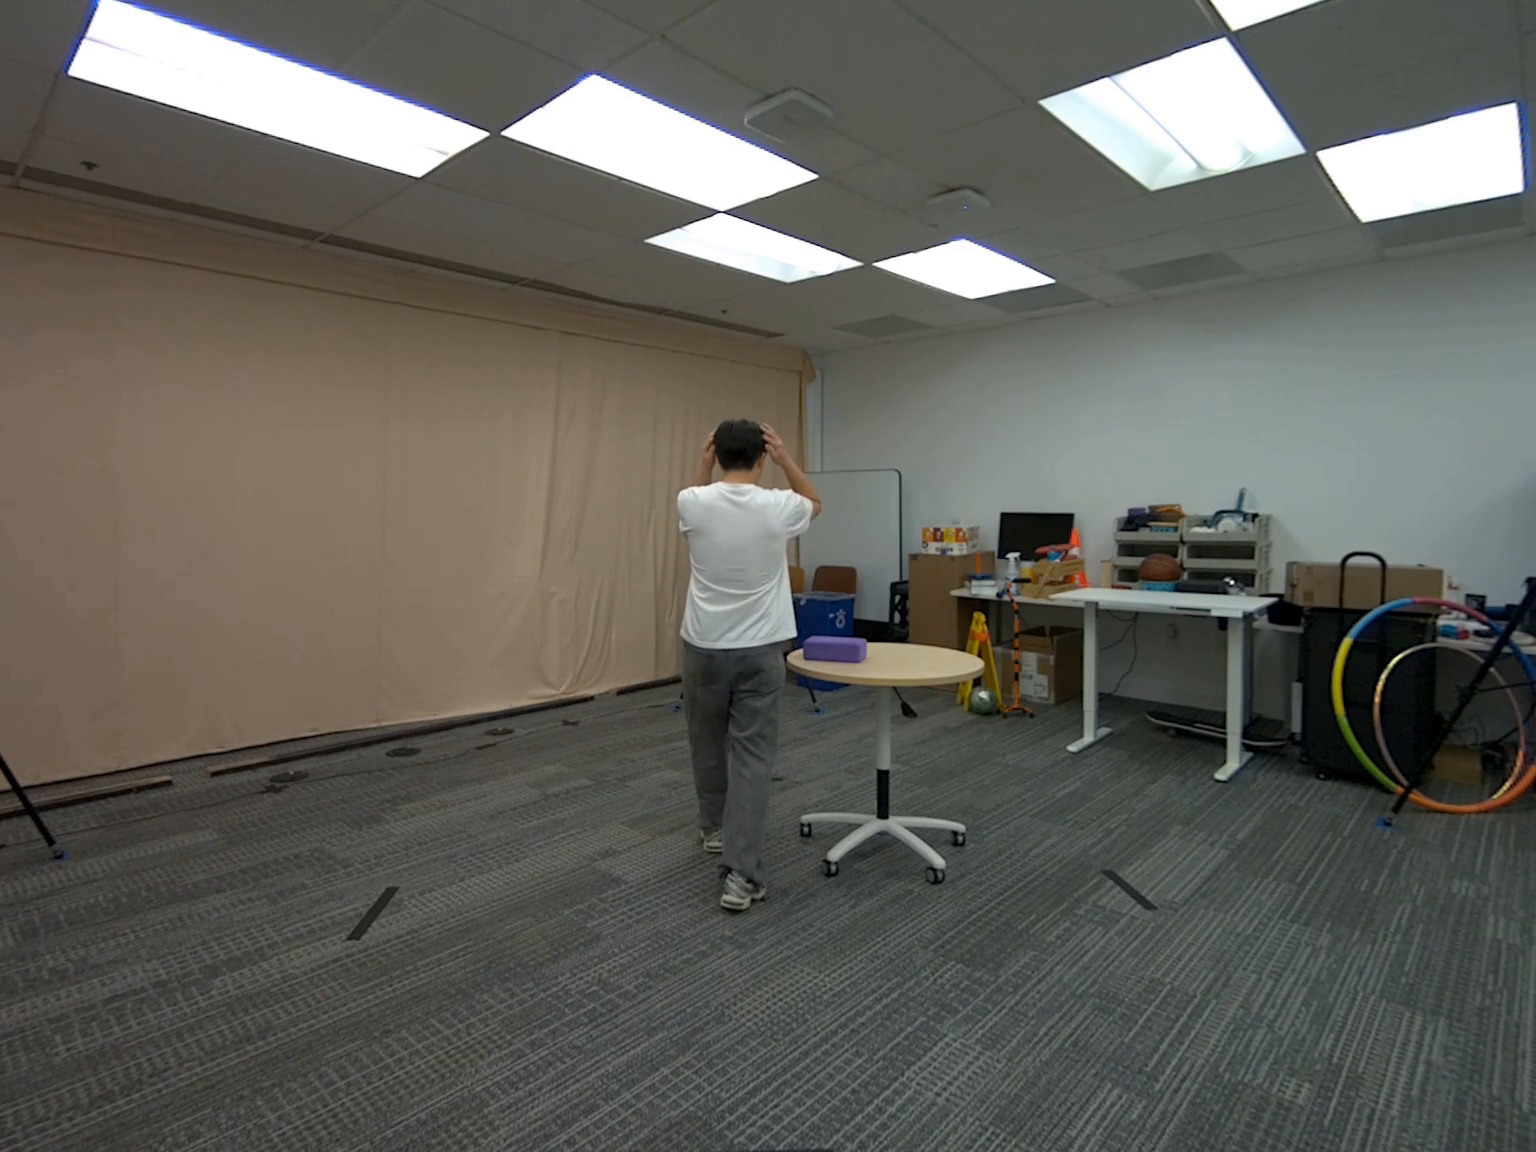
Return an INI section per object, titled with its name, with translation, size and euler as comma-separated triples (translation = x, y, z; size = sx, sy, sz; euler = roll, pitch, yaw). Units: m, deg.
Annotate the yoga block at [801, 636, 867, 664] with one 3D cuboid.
[yoga block]
translation = 0.281, 0.292, 3.354
size = 0.234, 0.076, 0.146
euler = 2, 5, 17
